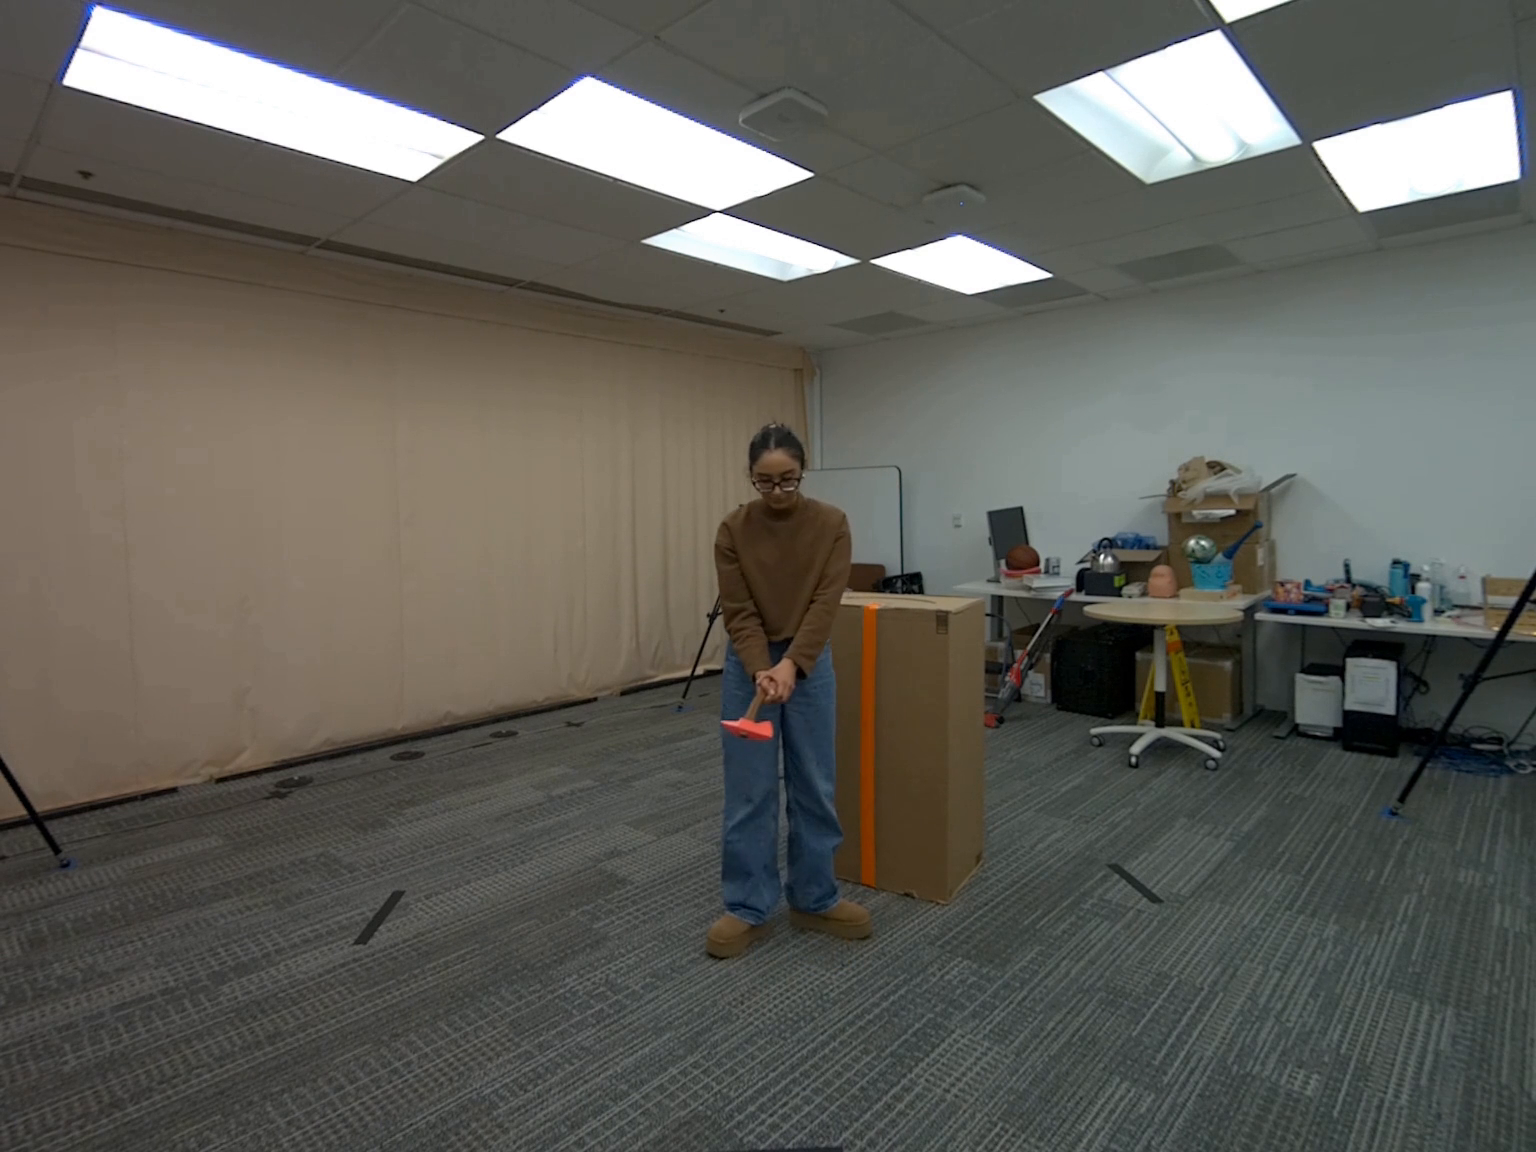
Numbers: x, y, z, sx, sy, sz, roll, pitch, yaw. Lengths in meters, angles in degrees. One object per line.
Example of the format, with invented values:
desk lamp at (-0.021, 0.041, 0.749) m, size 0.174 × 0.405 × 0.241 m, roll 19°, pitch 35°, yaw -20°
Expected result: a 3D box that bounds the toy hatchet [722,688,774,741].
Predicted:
toy hatchet at (-0.006, 0.358, 2.259) m, size 0.134 × 0.029 × 0.266 m, roll 19°, pitch 28°, yaw 19°
